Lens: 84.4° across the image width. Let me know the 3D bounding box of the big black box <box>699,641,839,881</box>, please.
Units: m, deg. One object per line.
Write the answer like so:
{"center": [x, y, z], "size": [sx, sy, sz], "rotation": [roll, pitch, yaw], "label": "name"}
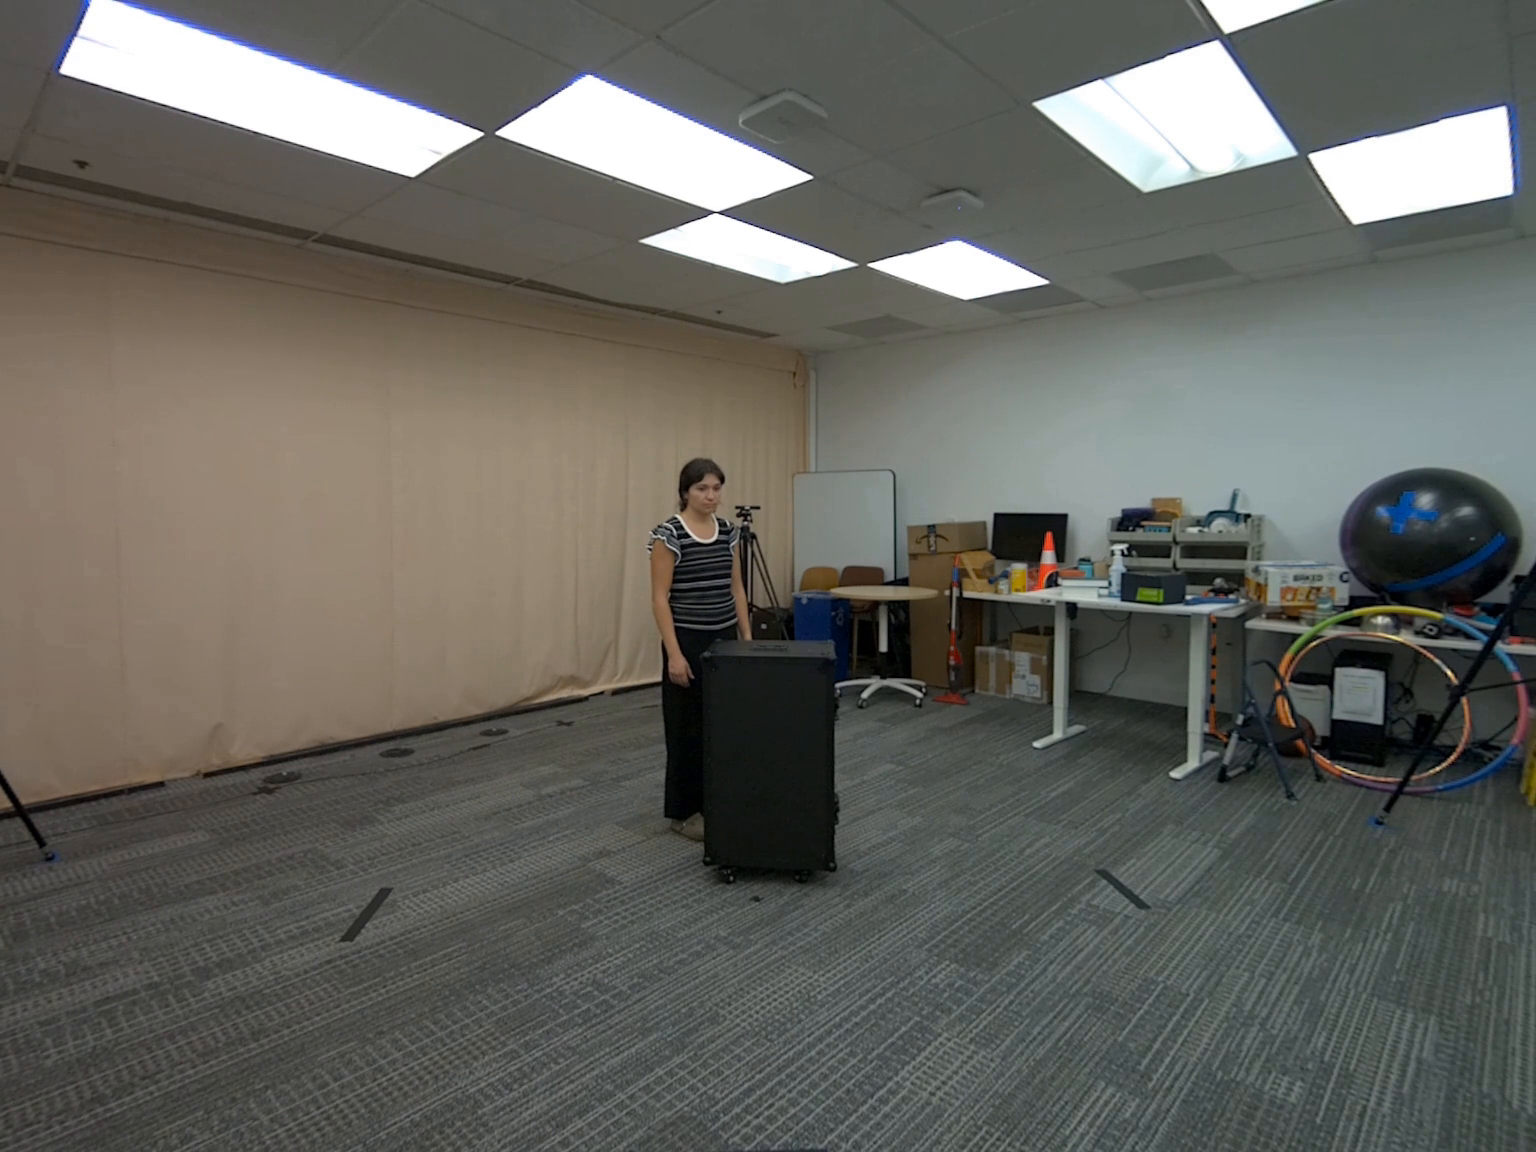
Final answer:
{"center": [0.017, 0.695, 3.234], "size": [0.525, 0.860, 0.394], "rotation": [-1, 2, 7], "label": "big black box"}
